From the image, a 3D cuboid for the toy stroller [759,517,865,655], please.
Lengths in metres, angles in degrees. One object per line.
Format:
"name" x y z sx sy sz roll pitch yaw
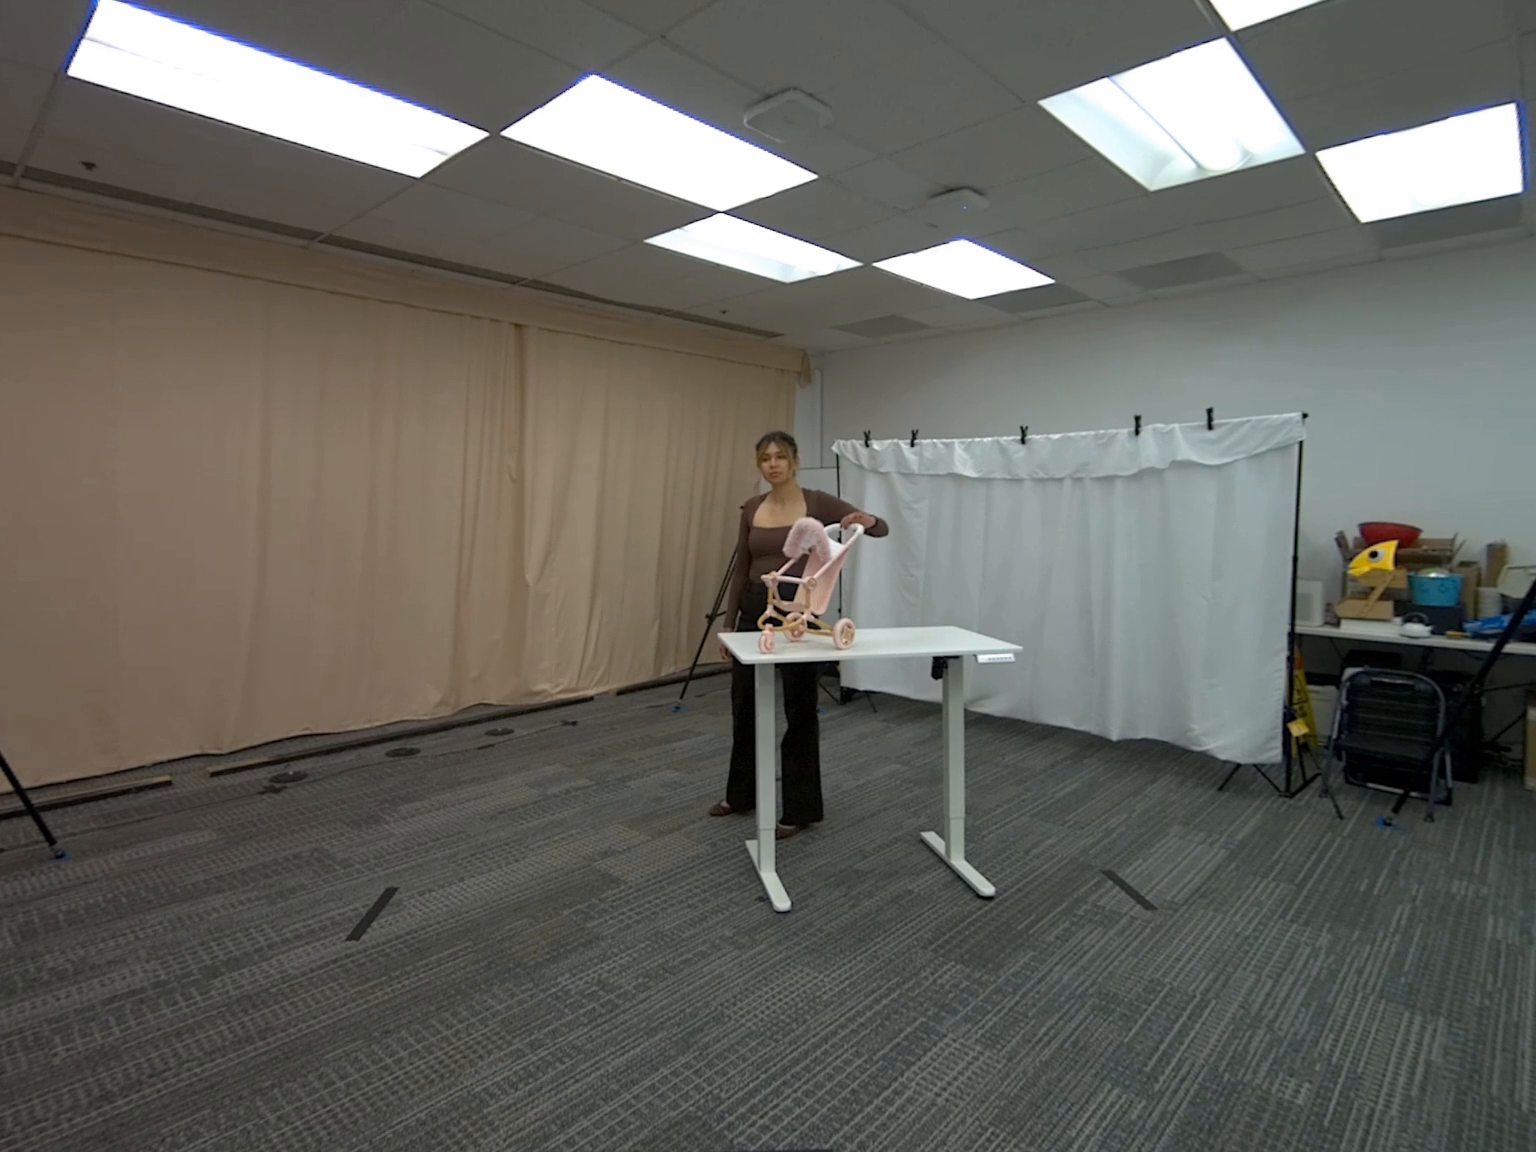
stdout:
"toy stroller" 0.135 0.031 3.027 0.330 0.536 0.290 15 -8 -37
